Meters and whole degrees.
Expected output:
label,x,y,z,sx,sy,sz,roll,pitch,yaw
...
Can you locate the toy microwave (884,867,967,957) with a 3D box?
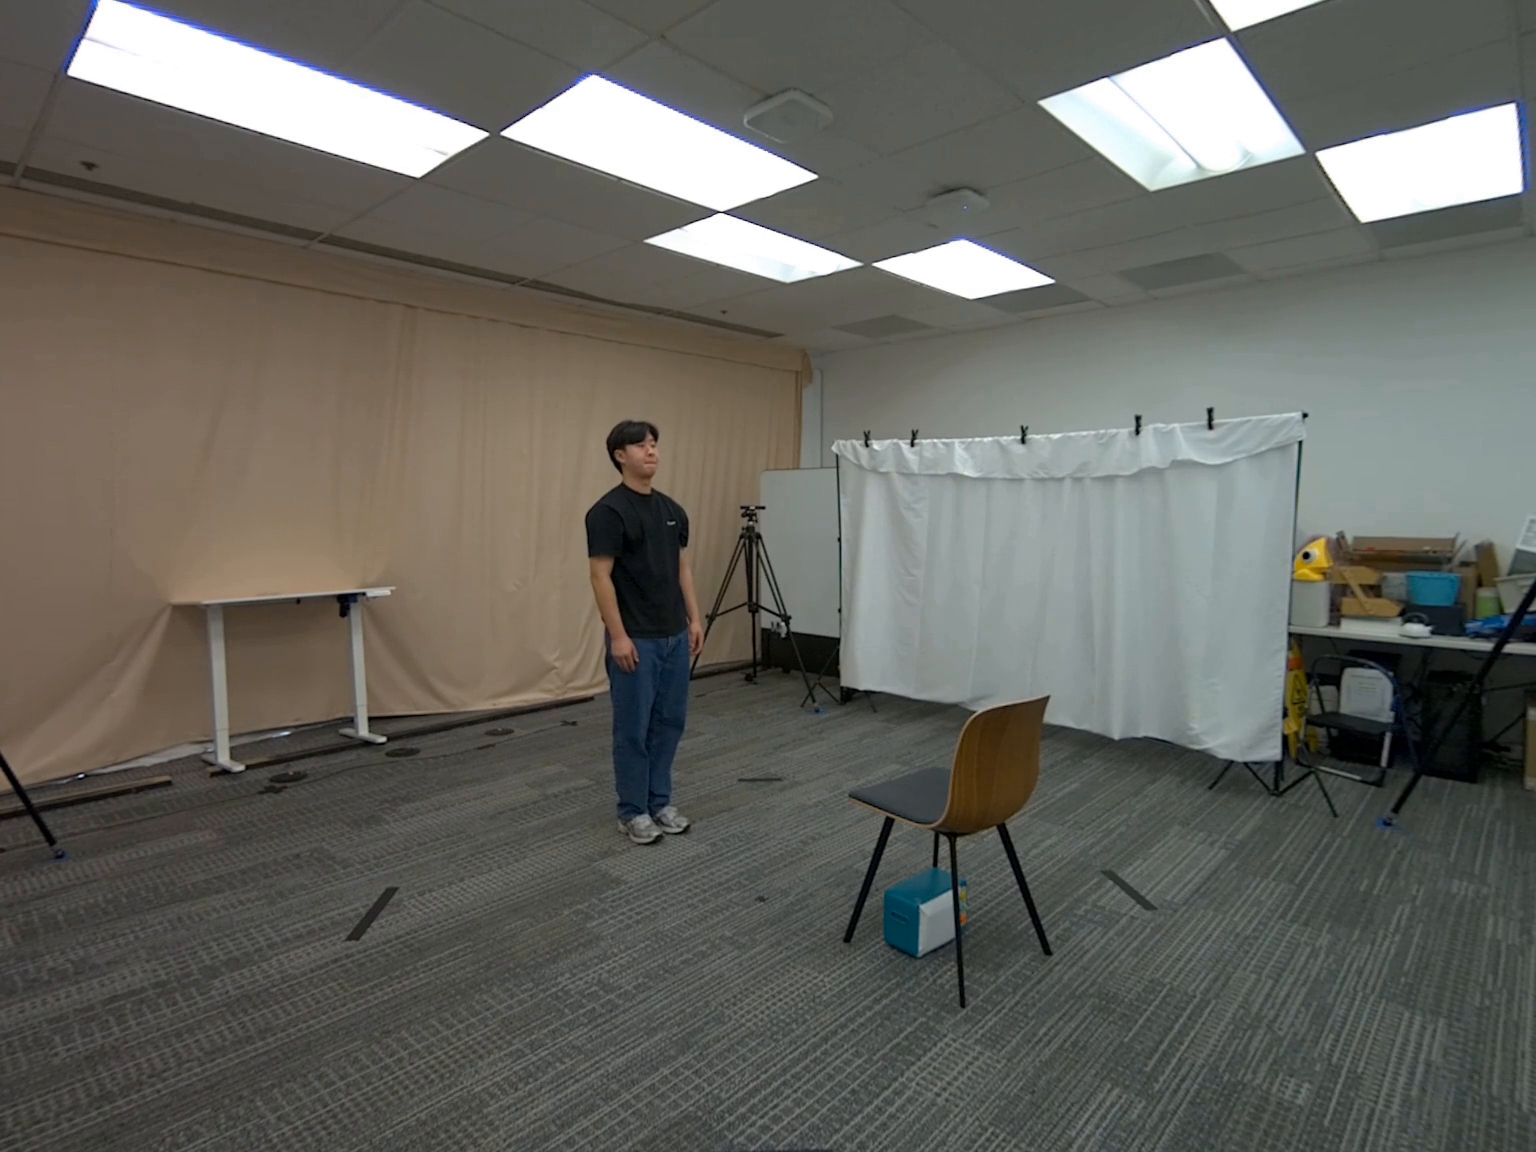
label,x,y,z,sx,sy,sz,roll,pitch,yaw
toy microwave,0.523,1.076,2.694,0.277,0.184,0.157,-4,5,-40
